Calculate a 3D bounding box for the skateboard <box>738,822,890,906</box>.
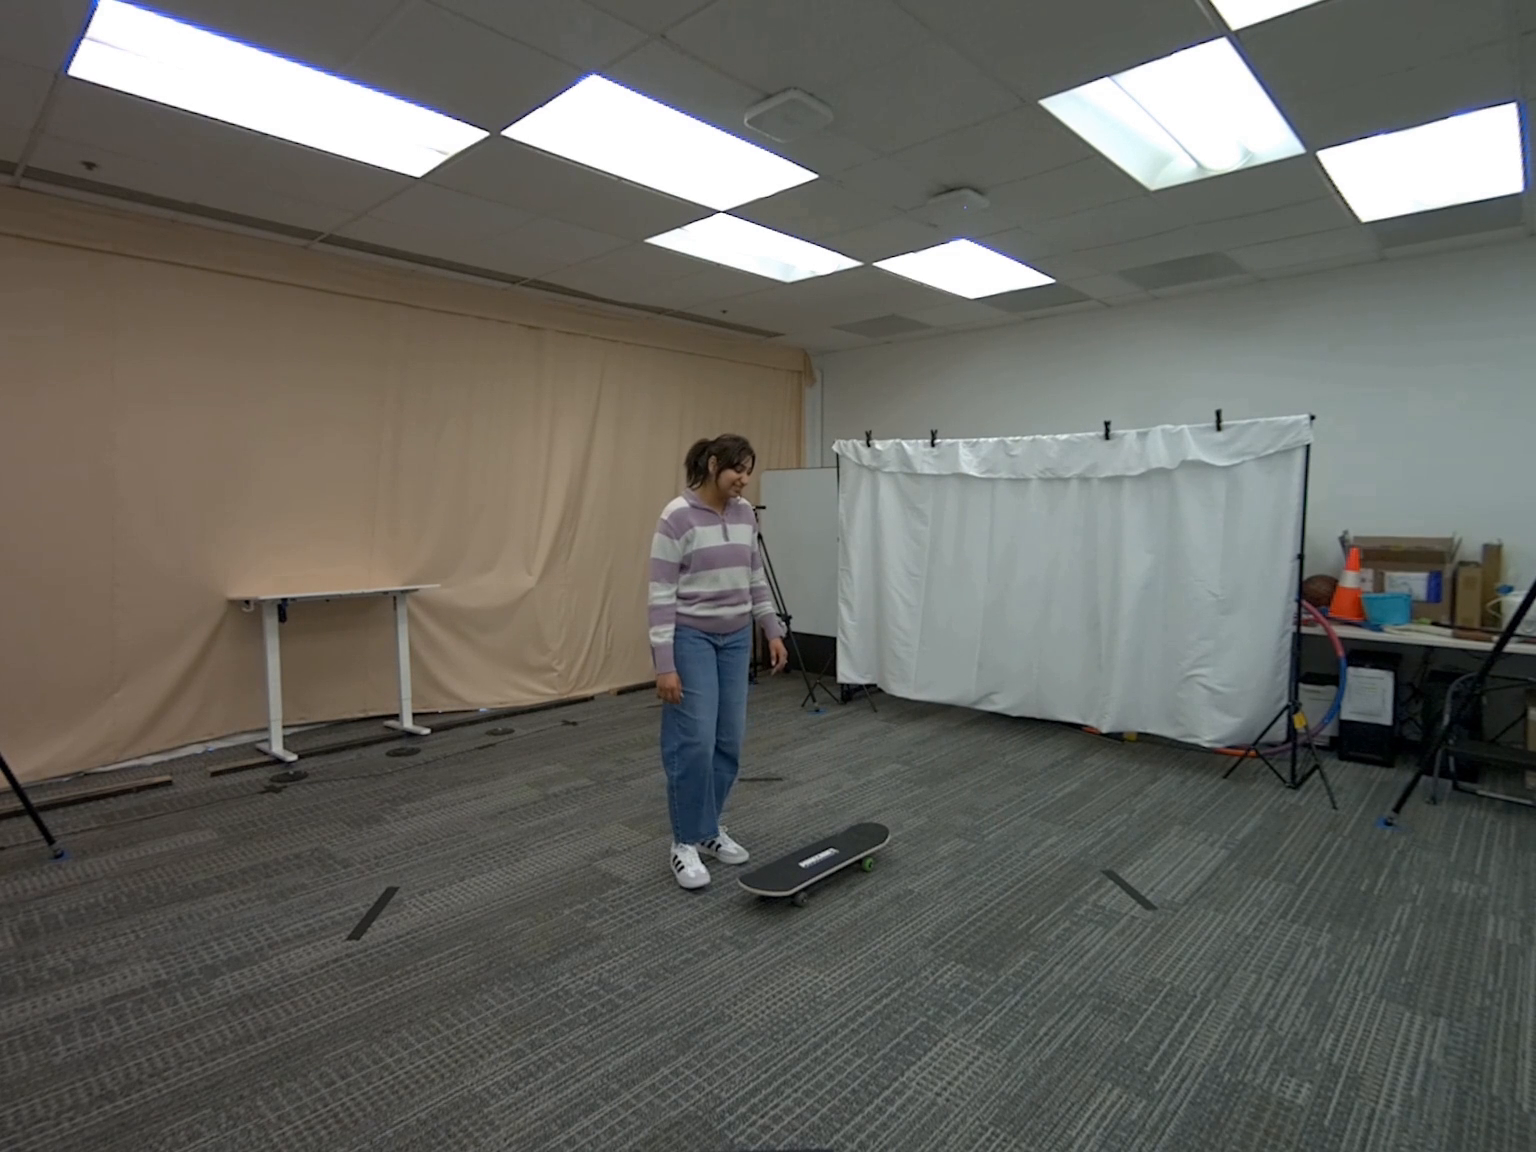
[{"bbox_3d":[0.188,1.074,3.117,0.200,0.110,0.762,4,6,43],"label":"skateboard"}]
